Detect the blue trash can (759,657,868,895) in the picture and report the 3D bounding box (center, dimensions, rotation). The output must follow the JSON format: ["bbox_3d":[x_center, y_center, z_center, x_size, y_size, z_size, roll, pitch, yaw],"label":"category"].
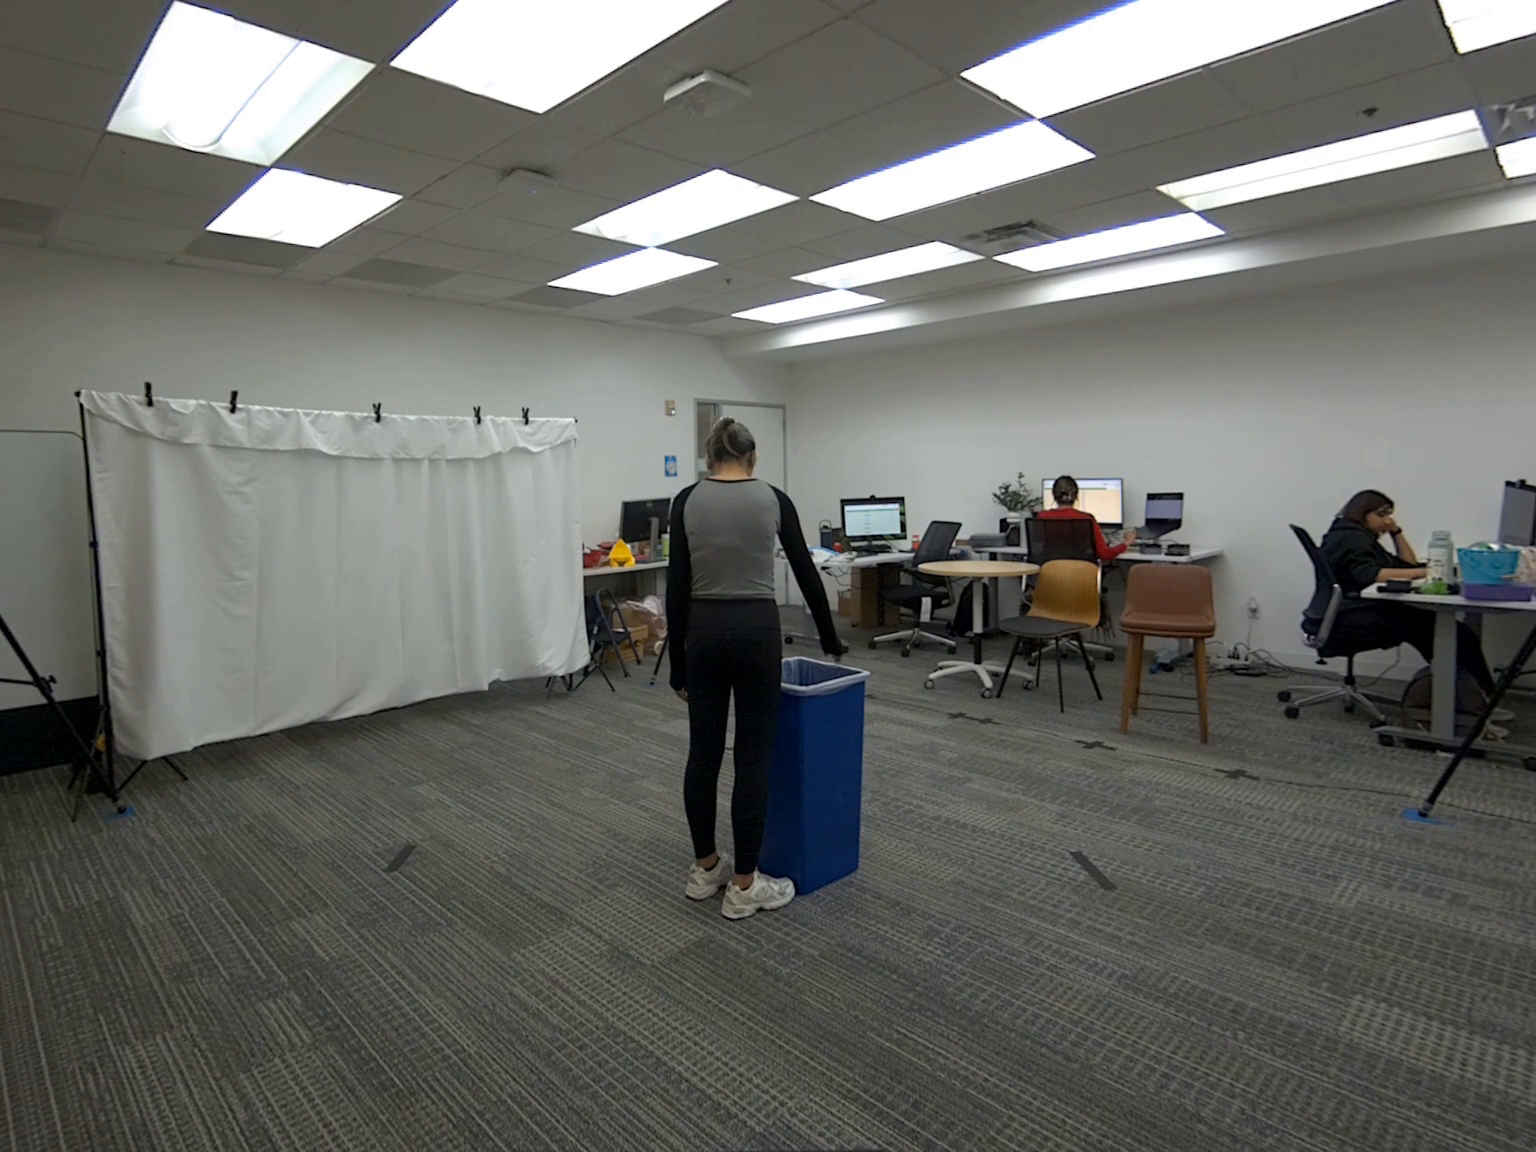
[{"bbox_3d":[0.125,0.691,3.031,0.368,0.711,0.385,-5,5,-44],"label":"blue trash can"}]
